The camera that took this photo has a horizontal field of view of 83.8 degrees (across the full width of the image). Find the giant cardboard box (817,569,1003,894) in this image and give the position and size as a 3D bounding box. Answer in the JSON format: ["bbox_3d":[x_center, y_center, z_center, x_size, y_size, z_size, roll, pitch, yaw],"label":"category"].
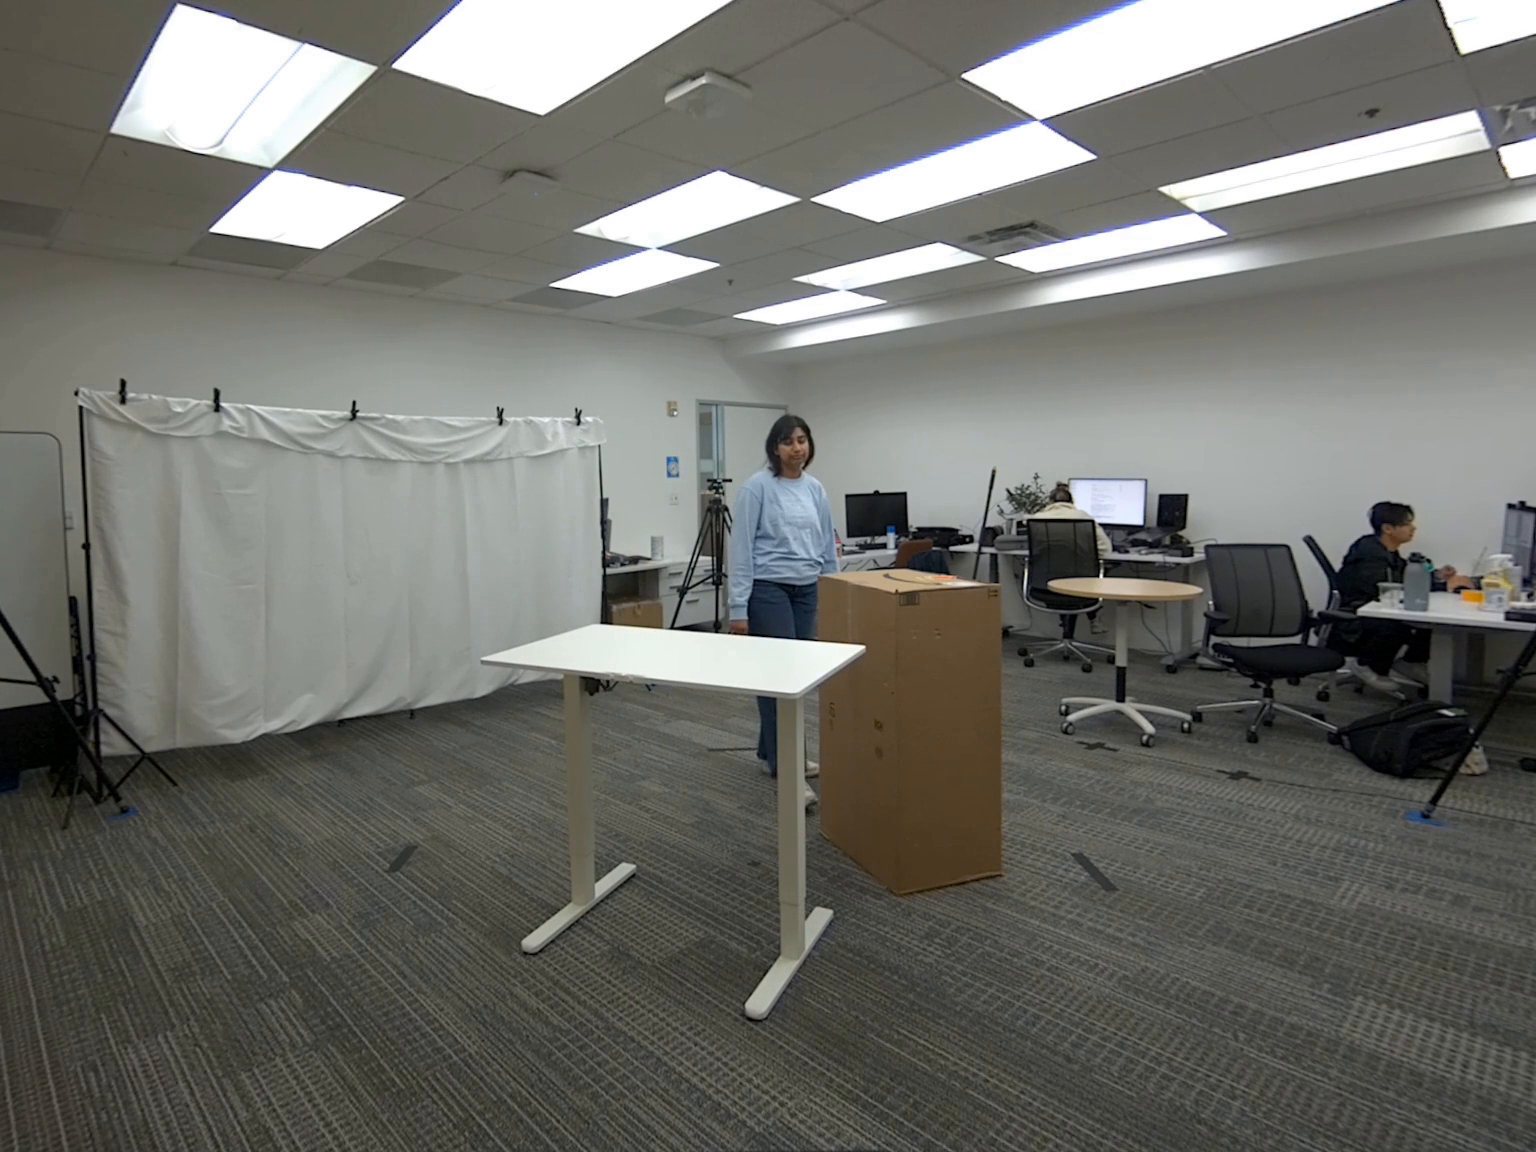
[{"bbox_3d":[0.508,0.521,3.149,0.418,1.023,0.591,-2,4,-23],"label":"giant cardboard box"}]
